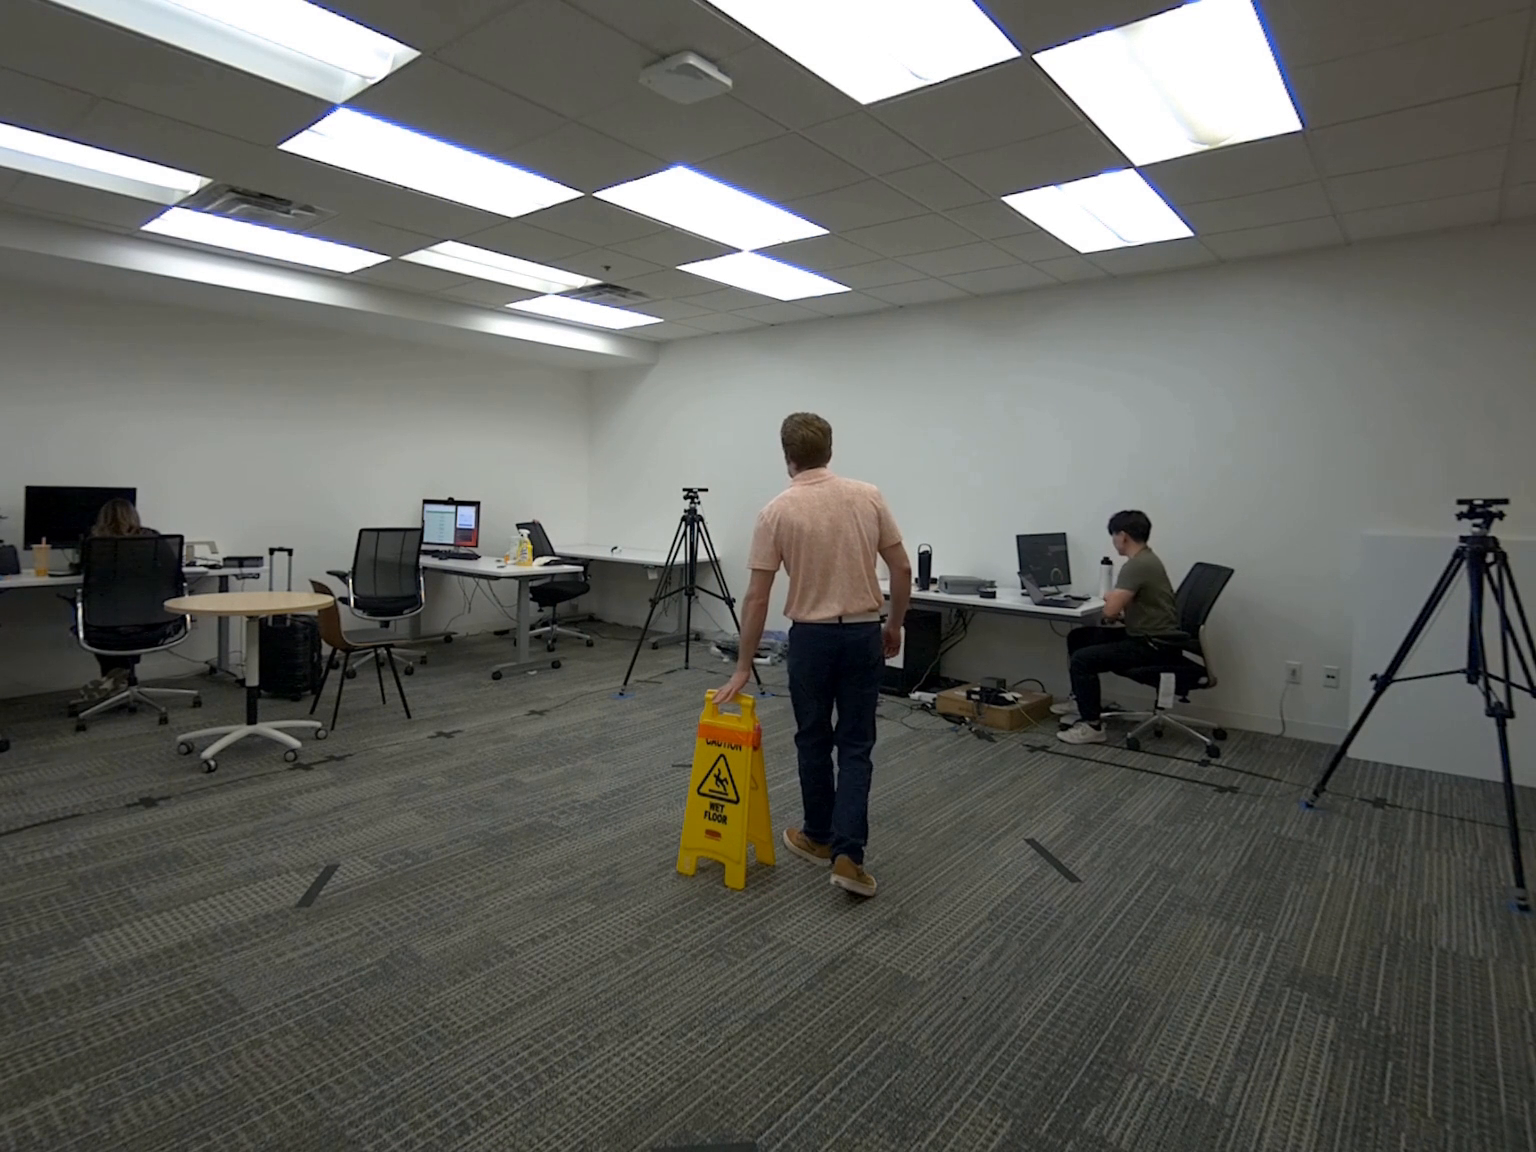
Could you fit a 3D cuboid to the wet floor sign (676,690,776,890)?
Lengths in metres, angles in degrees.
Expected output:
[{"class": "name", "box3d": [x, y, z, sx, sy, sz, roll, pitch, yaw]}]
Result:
[{"class": "wet floor sign", "box3d": [-0.158, 0.746, 3.112, 0.290, 0.645, 0.282, 2, 3, 29]}]
